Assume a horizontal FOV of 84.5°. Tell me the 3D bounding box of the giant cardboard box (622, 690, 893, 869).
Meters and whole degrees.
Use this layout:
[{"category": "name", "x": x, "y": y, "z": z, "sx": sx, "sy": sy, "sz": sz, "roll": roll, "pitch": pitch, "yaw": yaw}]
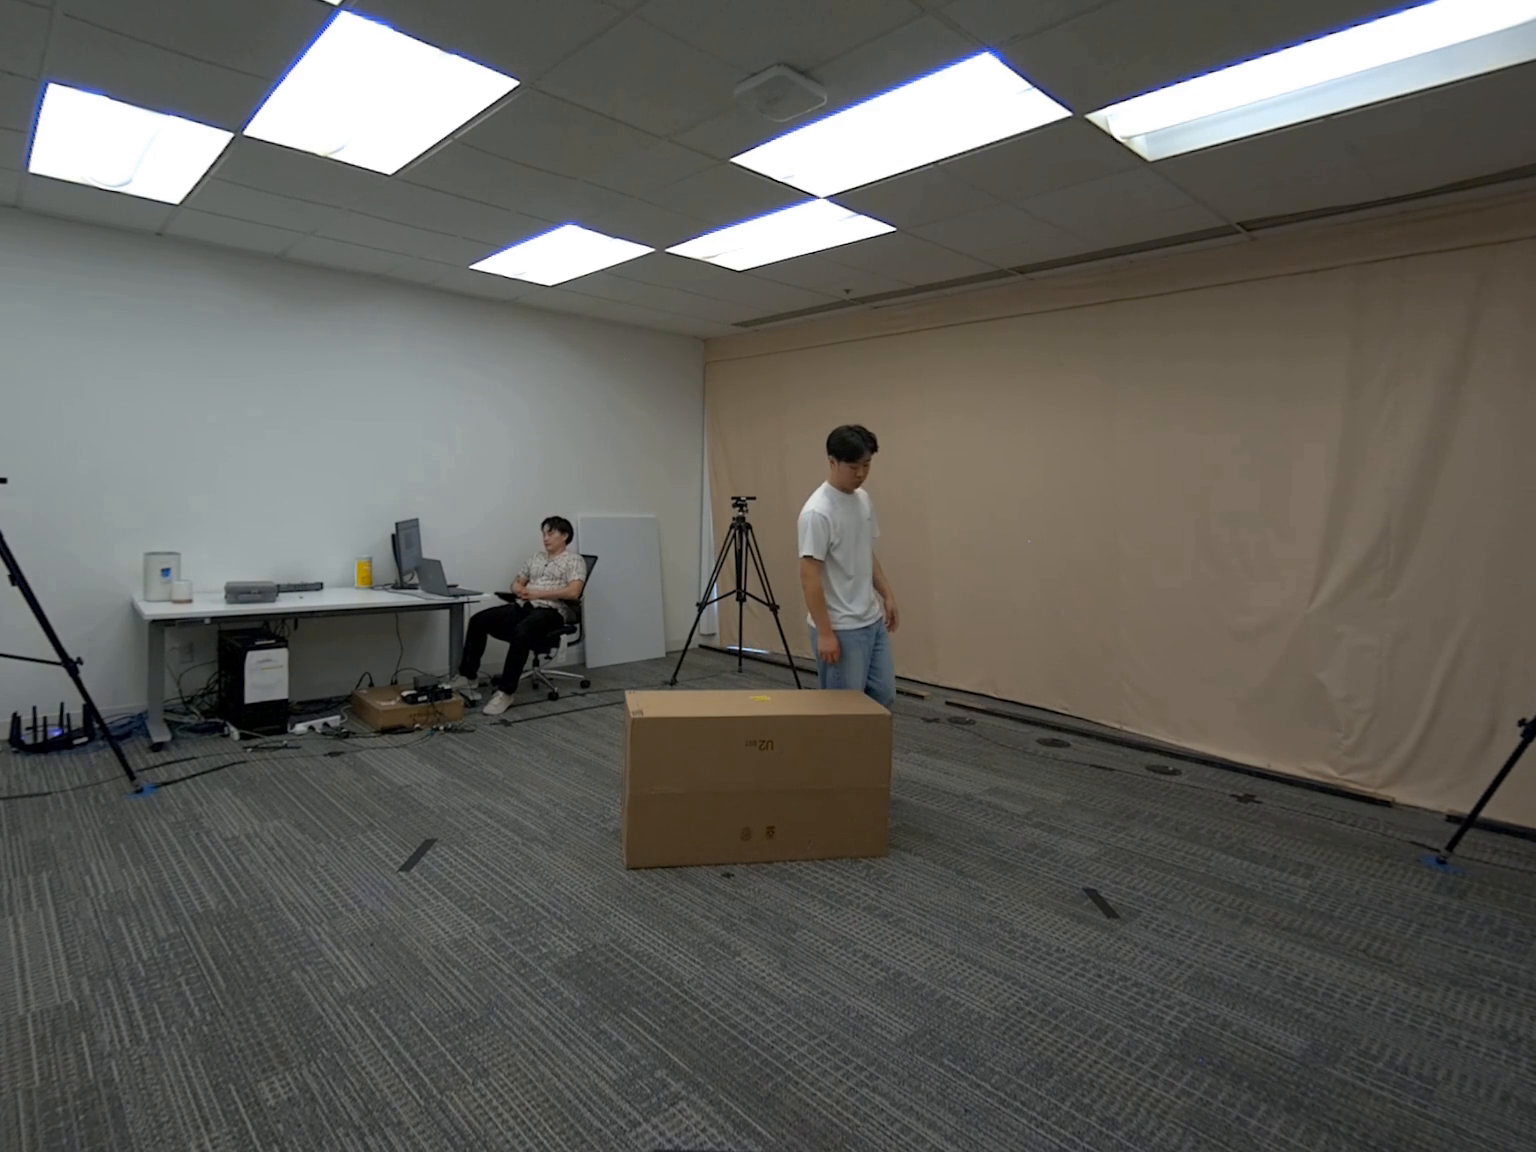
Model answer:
[{"category": "giant cardboard box", "x": -0.074, "y": 0.792, "z": 3.406, "sx": 1.017, "sy": 0.576, "sz": 0.431, "roll": 1, "pitch": 4, "yaw": -10}]
